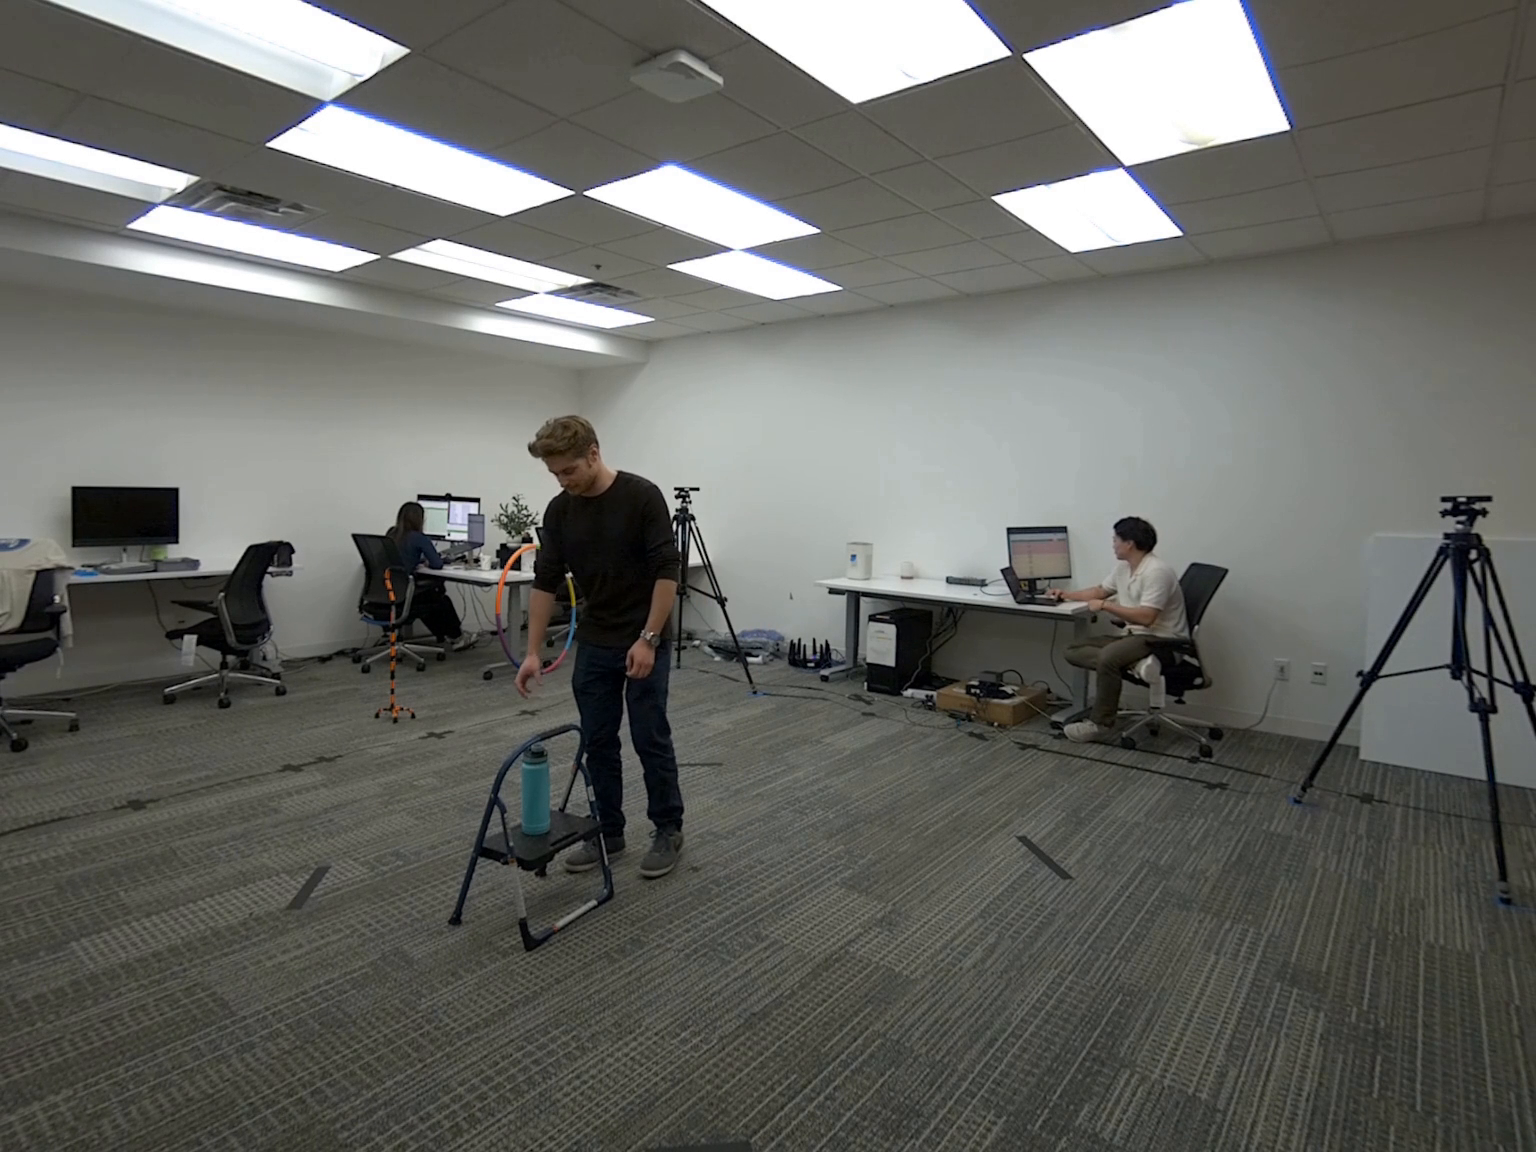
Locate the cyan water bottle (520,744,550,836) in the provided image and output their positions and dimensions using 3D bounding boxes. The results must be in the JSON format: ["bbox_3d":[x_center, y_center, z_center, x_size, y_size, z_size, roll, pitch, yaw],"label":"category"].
[{"bbox_3d":[-0.772,0.693,2.777,0.092,0.282,0.093,-2,6,-2],"label":"cyan water bottle"}]
